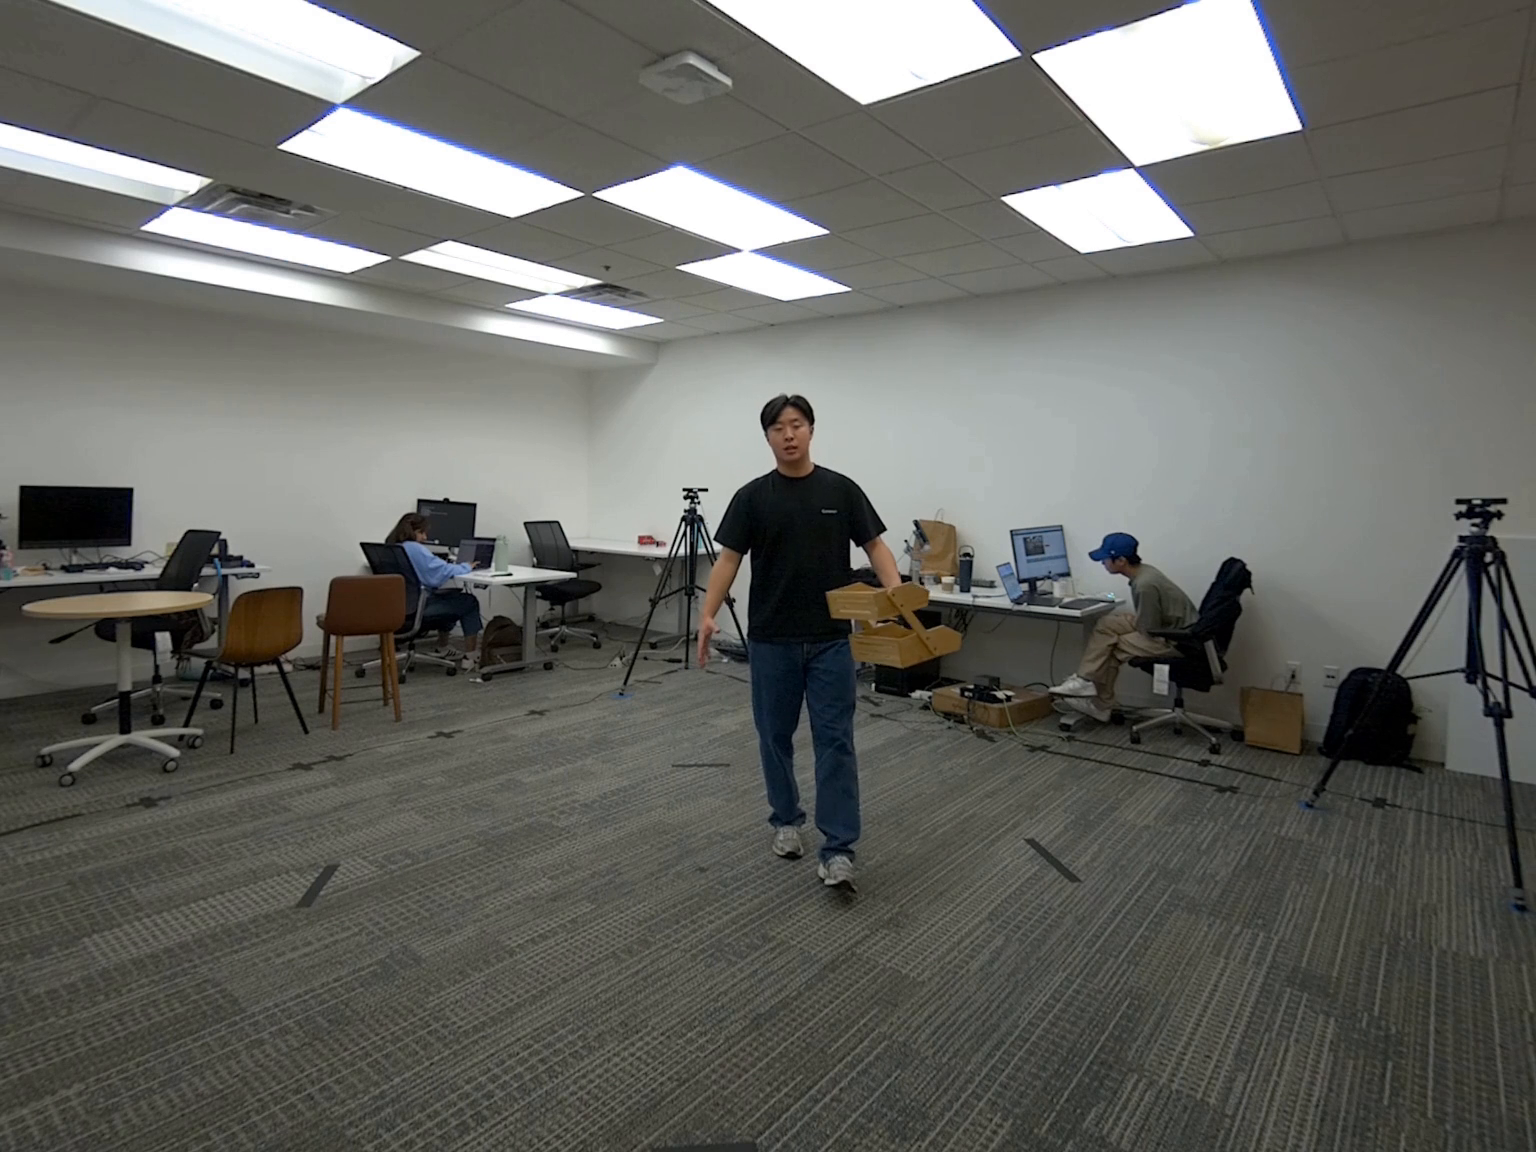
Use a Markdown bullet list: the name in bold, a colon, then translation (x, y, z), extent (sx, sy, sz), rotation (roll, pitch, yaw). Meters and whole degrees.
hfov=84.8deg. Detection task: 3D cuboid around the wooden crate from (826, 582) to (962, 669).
- **wooden crate**: translation (0.422, 0.141, 2.895), extent (0.297, 0.272, 0.331), rotation (-15, 4, -25)
